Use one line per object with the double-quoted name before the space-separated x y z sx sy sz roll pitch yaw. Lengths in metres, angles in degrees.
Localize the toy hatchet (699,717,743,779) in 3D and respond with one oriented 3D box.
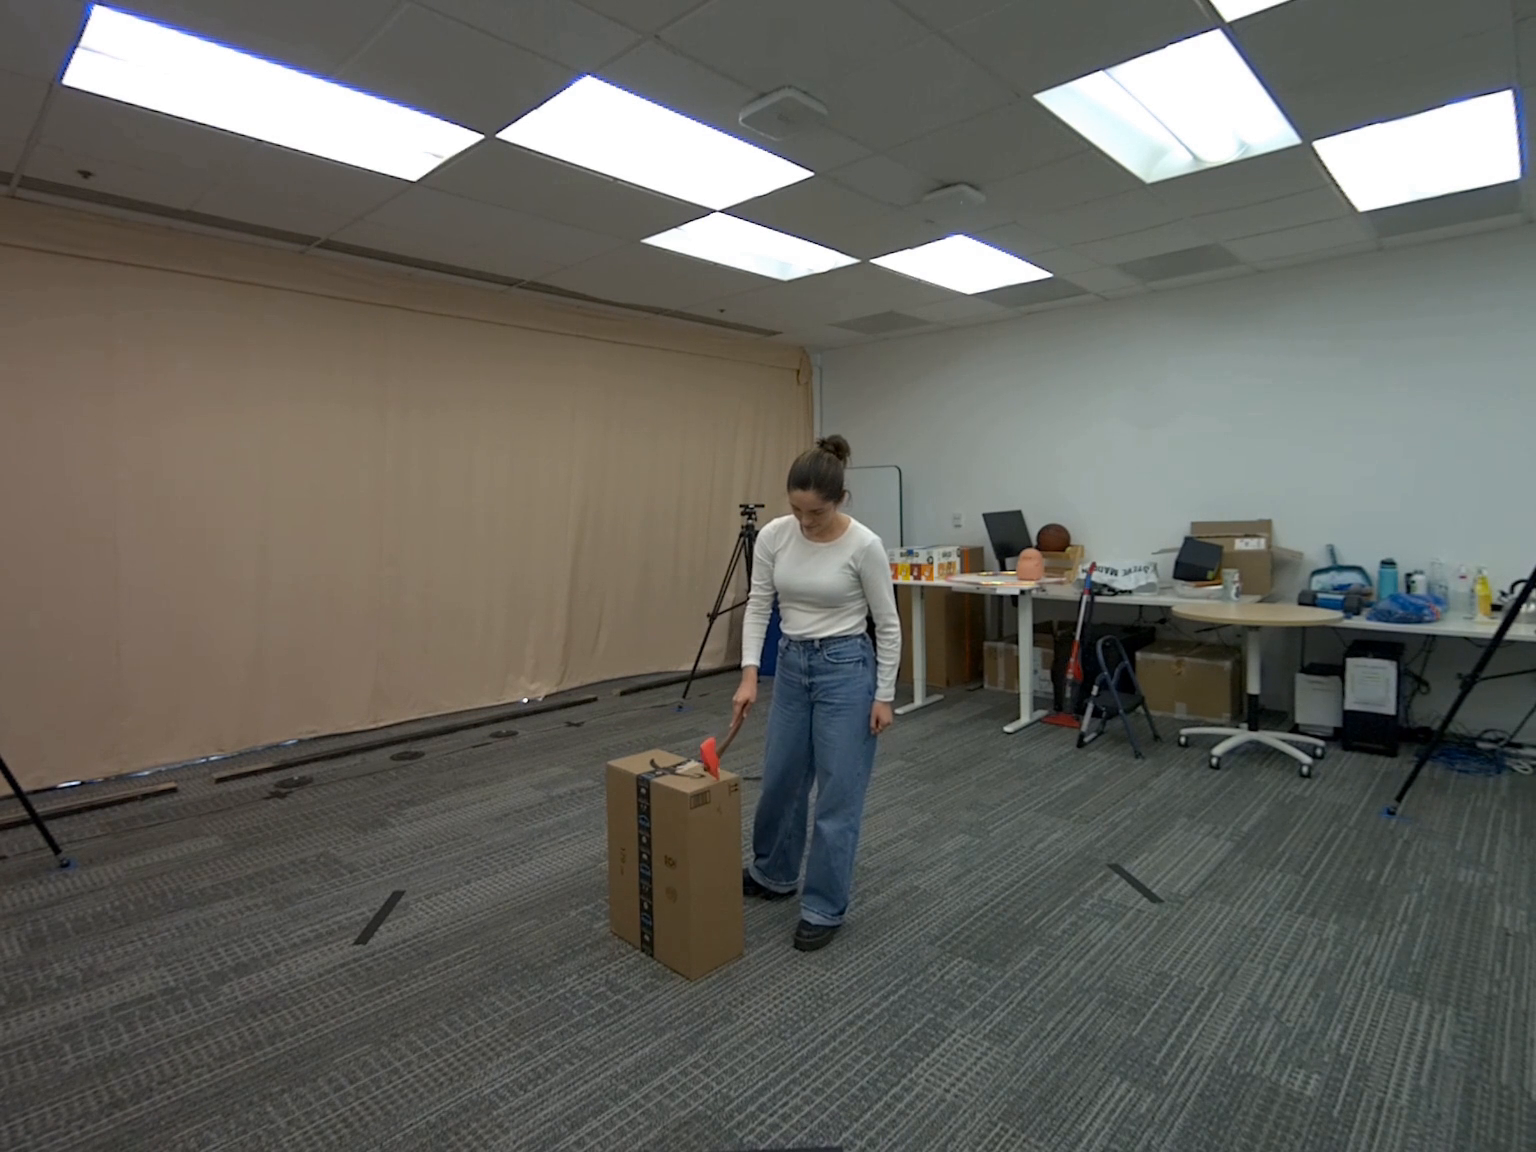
"toy hatchet" -0.138 0.476 2.556 0.030 0.270 0.127 -1 -39 41
